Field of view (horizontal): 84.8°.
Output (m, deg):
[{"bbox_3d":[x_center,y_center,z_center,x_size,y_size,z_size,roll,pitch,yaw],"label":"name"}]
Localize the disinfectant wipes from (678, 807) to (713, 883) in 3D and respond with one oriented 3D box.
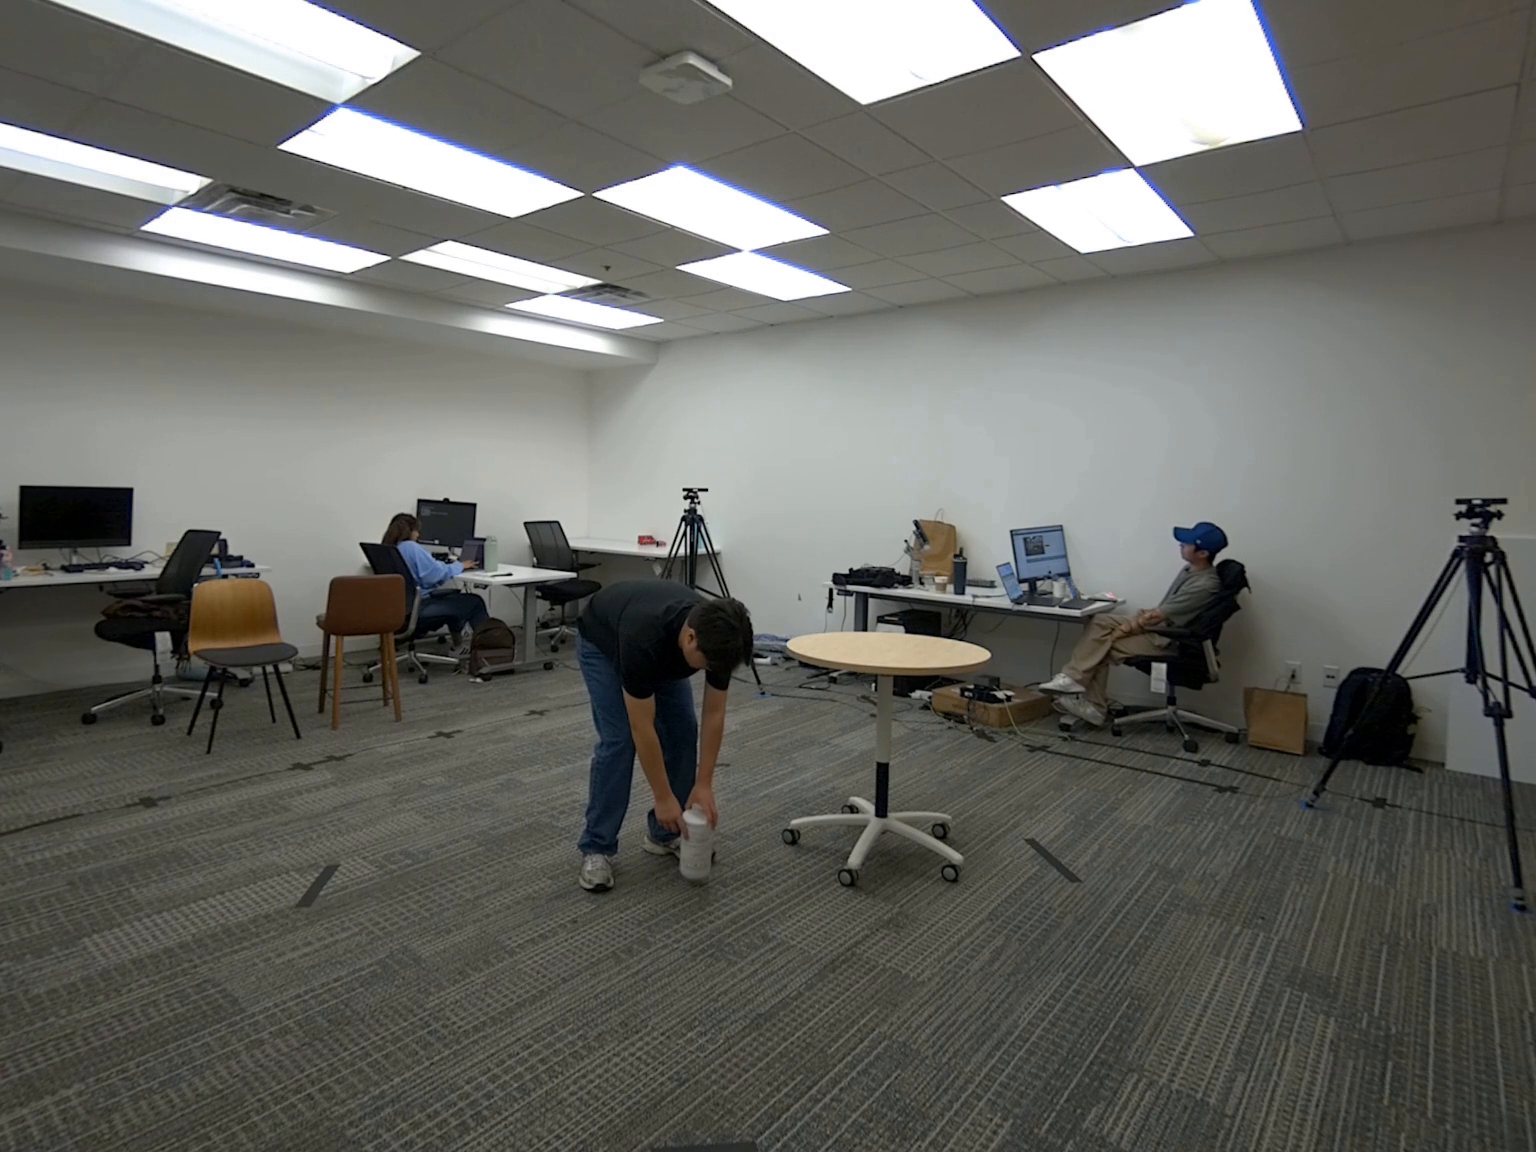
[{"bbox_3d":[-0.261,0.939,2.983,0.118,0.216,0.118,-1,6,-2],"label":"disinfectant wipes"}]
